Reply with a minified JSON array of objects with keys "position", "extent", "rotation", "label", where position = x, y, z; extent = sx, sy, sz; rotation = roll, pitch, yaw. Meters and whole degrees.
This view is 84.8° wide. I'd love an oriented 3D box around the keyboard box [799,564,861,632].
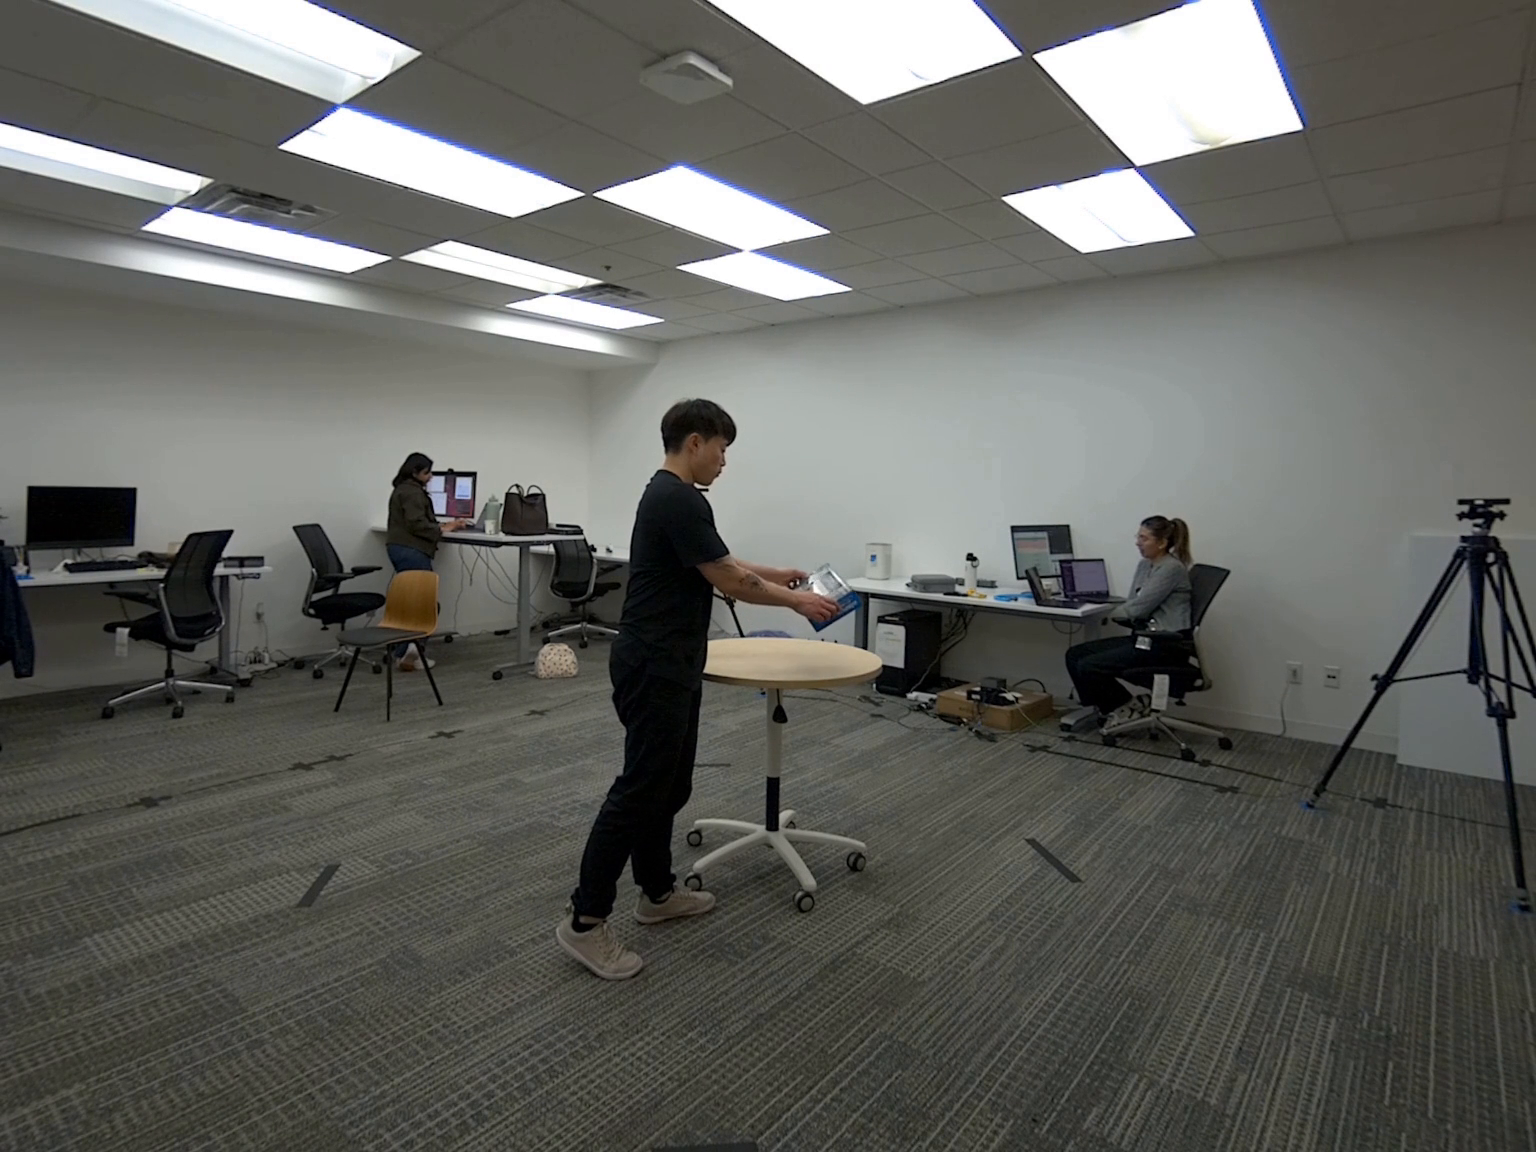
[{"position":[0.186,0.073,2.884],"extent":[0.176,0.058,0.444],"rotation":[-34,15,1],"label":"keyboard box"}]
